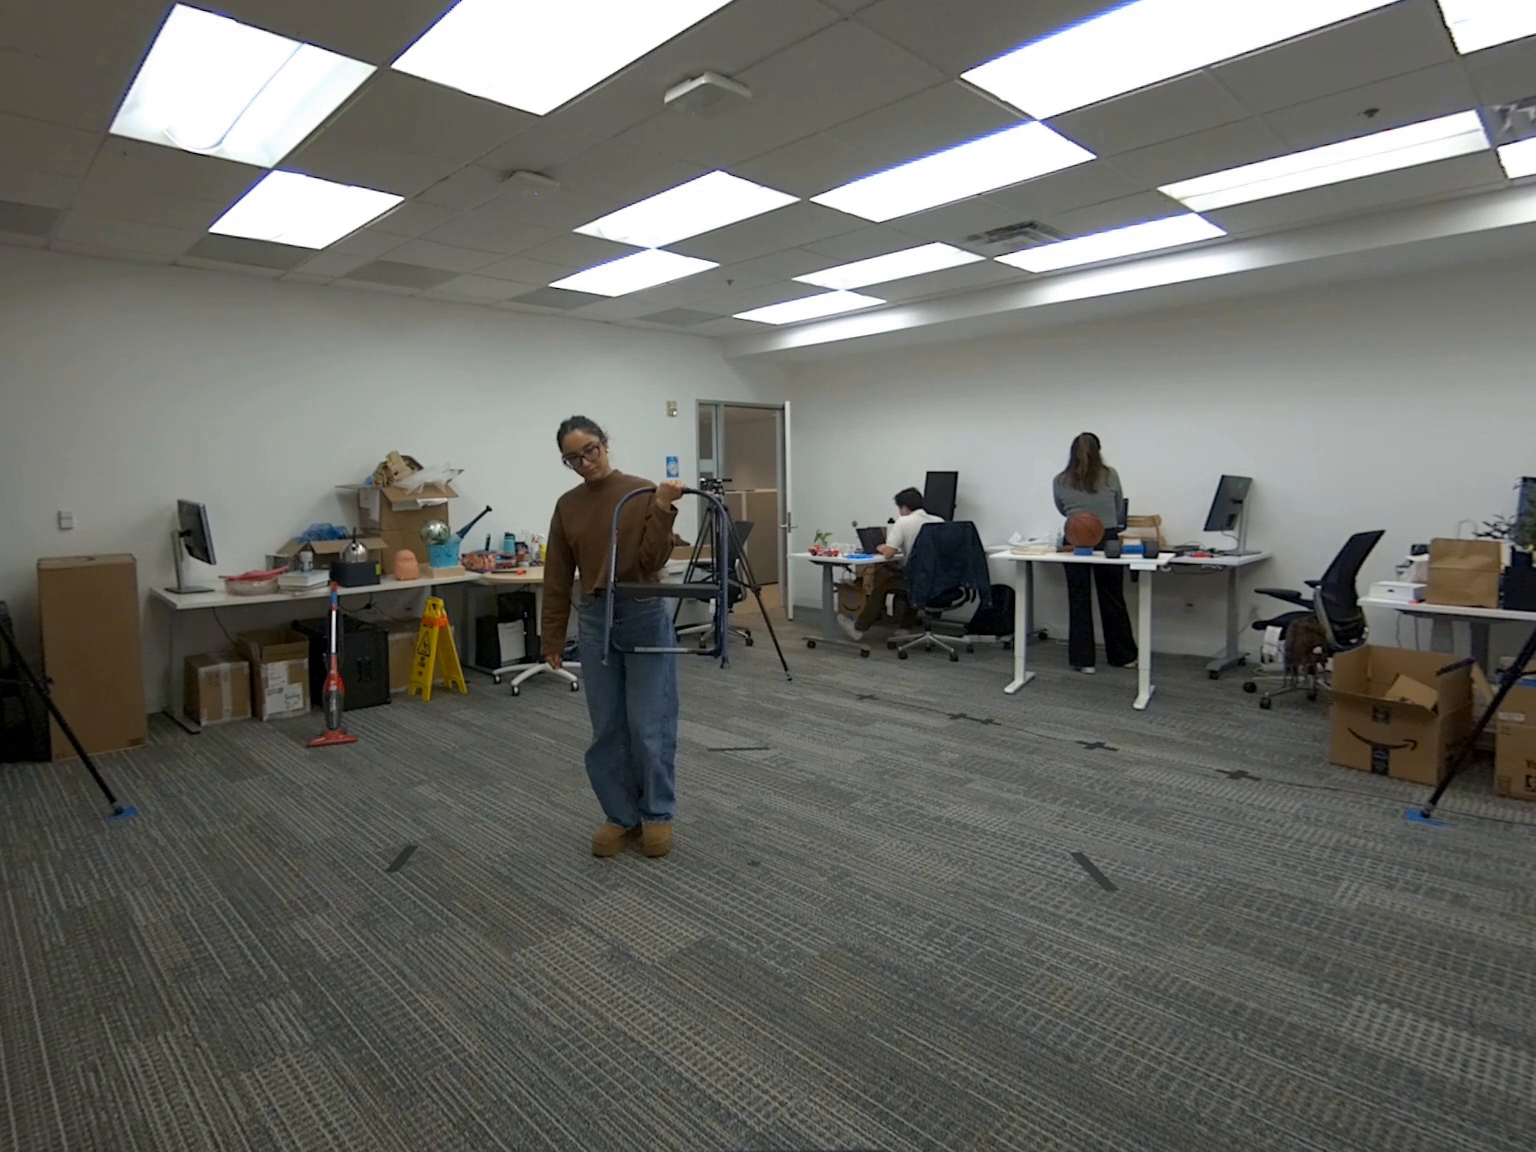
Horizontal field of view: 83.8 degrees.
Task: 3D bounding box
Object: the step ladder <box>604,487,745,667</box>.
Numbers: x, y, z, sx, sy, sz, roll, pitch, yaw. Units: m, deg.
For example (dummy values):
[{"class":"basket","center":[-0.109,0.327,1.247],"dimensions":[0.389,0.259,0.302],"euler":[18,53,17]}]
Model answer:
[{"class":"step ladder","center":[-0.342,-0.009,2.961],"dimensions":[0.430,0.606,0.350],"euler":[2,0,-3]}]
